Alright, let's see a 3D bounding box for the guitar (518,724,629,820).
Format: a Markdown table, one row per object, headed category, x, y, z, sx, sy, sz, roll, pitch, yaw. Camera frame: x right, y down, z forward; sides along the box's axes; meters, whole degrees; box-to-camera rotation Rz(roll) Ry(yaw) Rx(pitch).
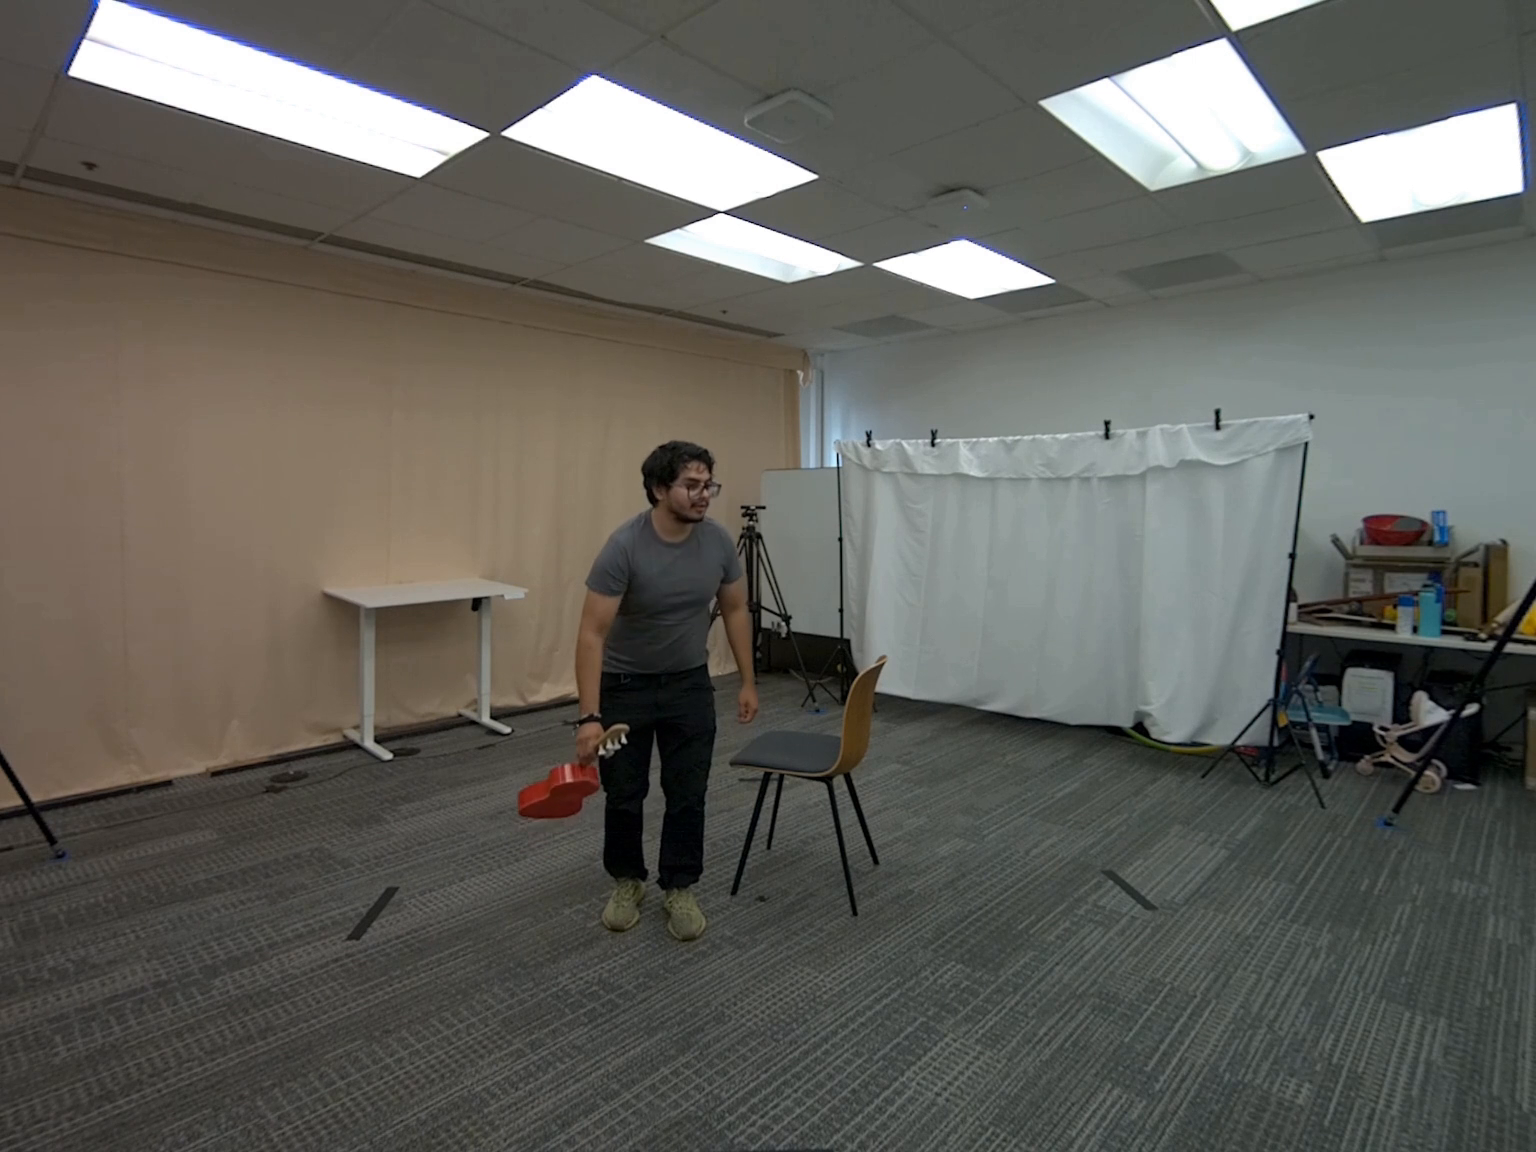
| category | x | y | z | sx | sy | sz | roll | pitch | yaw |
| --- | --- | --- | --- | --- | --- | --- | --- | --- | --- |
| guitar | -0.576 | 0.578 | 2.417 | 0.187 | 0.072 | 0.500 | 9 | -41 | -31 |
